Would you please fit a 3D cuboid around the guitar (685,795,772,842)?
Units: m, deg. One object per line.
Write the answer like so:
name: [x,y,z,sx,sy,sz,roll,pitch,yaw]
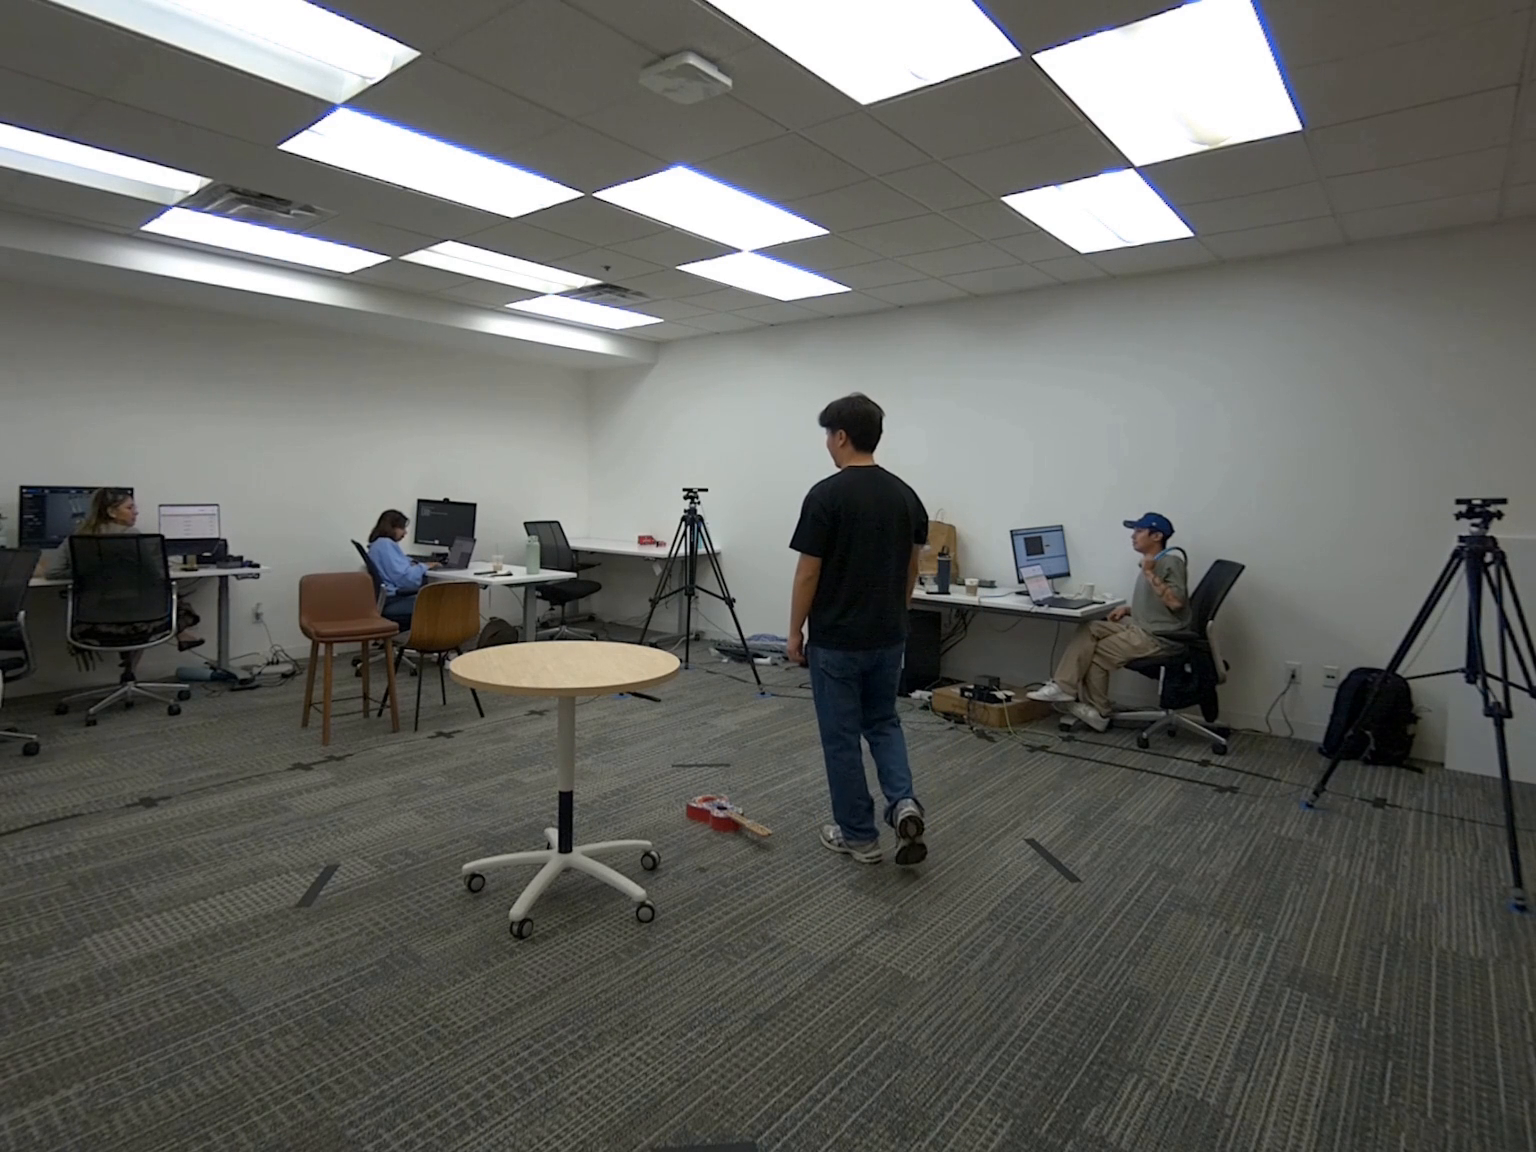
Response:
guitar: [-0.183,1.000,3.482,0.188,0.070,0.512,-1,6,-27]
